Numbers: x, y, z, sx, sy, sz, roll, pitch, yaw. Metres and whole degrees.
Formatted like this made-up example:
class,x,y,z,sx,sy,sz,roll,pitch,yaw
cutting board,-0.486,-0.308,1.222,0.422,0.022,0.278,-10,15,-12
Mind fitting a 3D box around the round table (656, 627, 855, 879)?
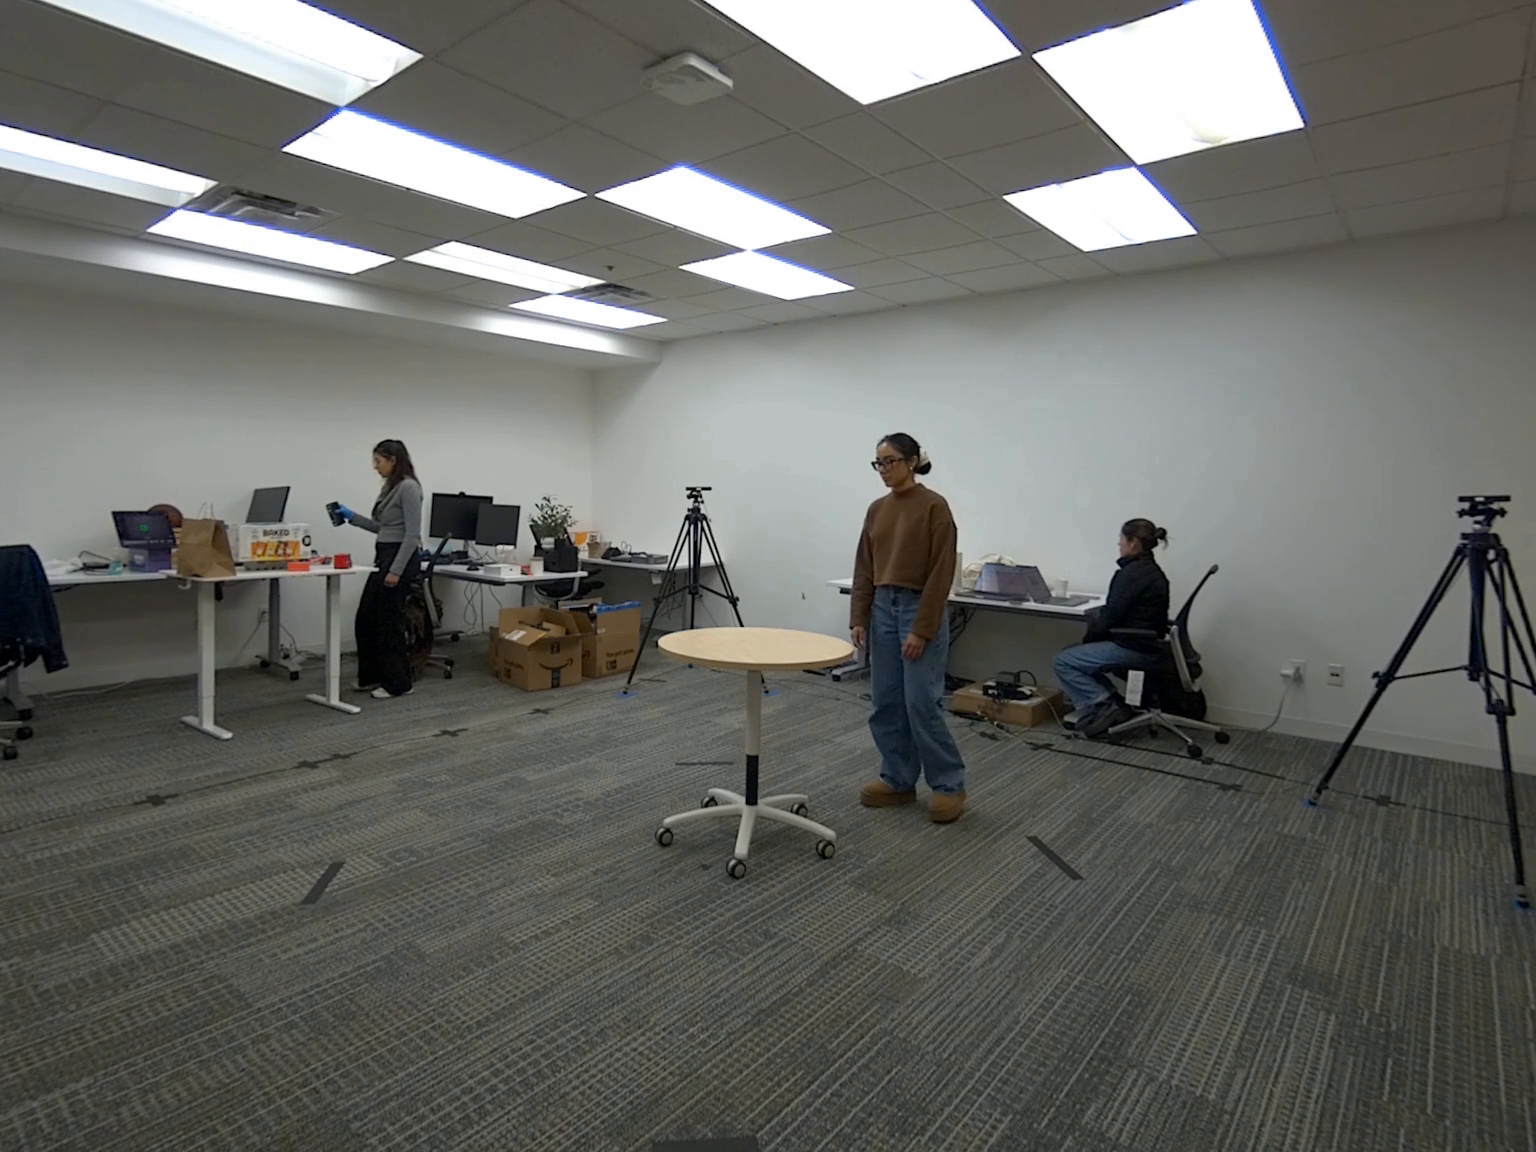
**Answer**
class,x,y,z,sx,sy,sz,roll,pitch,yaw
round table,-0.071,0.656,3.367,0.763,0.791,0.768,1,4,-2
